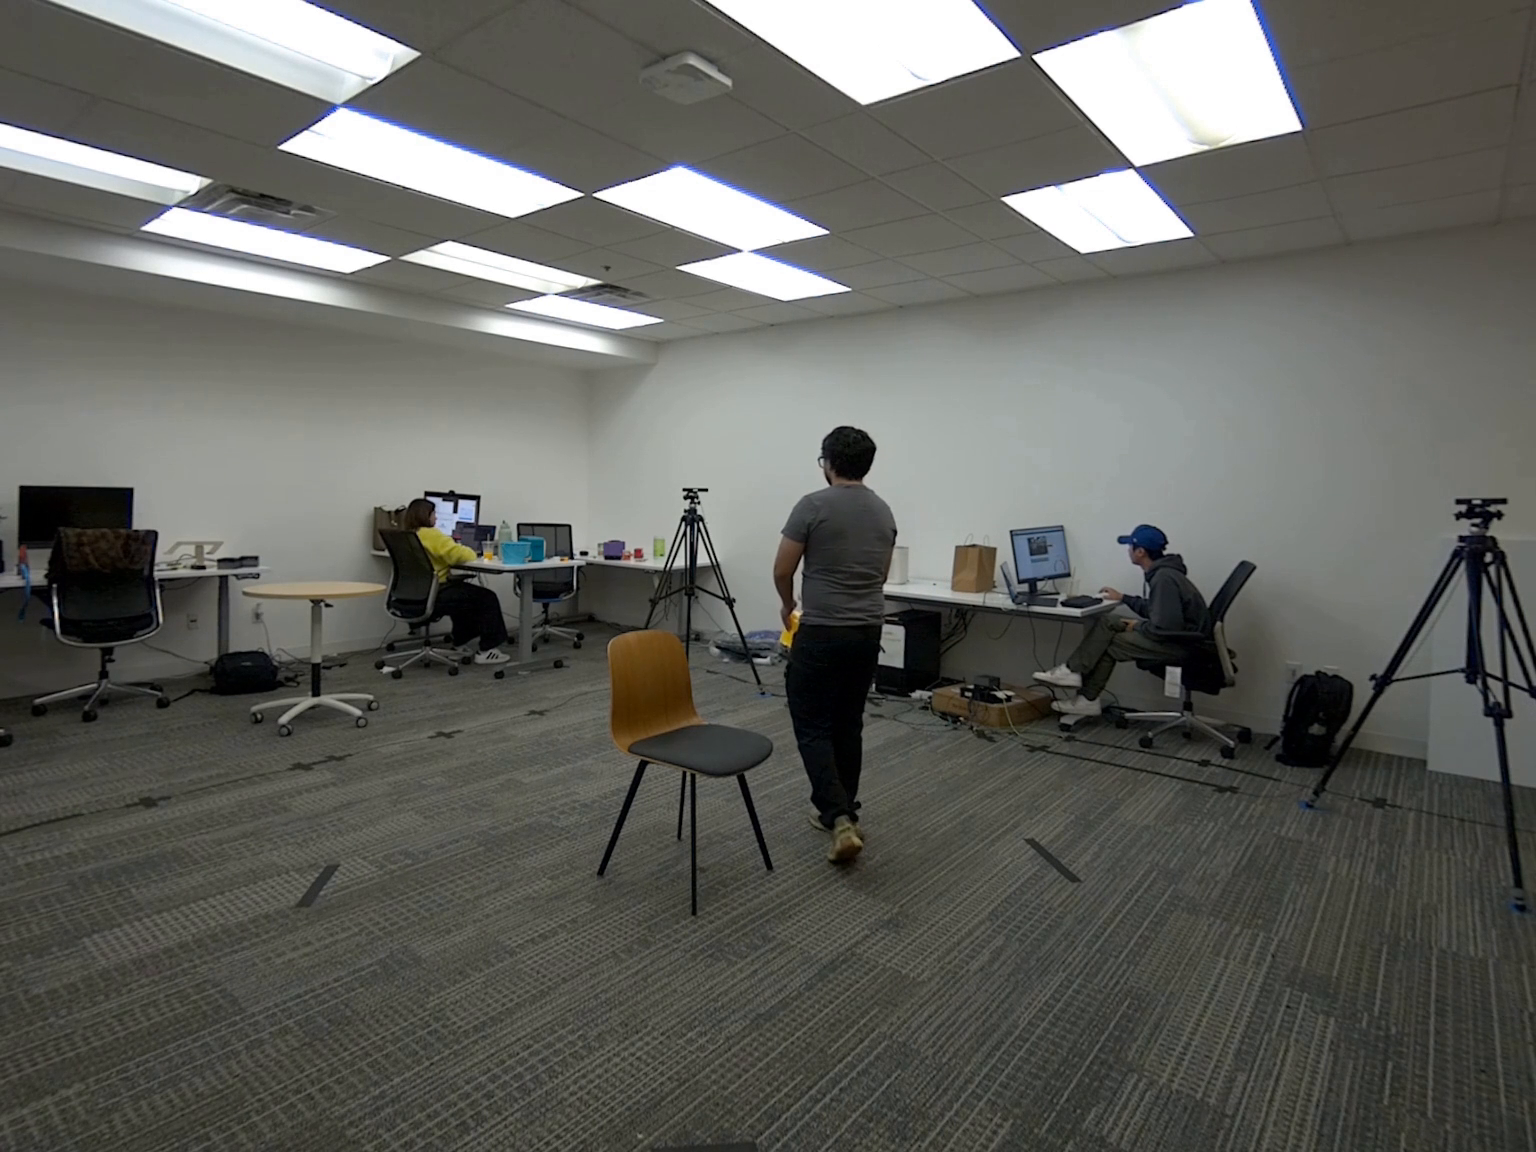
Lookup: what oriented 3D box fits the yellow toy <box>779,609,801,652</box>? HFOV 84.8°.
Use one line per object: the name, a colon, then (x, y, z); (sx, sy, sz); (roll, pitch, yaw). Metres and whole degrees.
yellow toy: (0.153, 0.237, 3.638); (0.191, 0.230, 0.208); (-11, 4, -13)
